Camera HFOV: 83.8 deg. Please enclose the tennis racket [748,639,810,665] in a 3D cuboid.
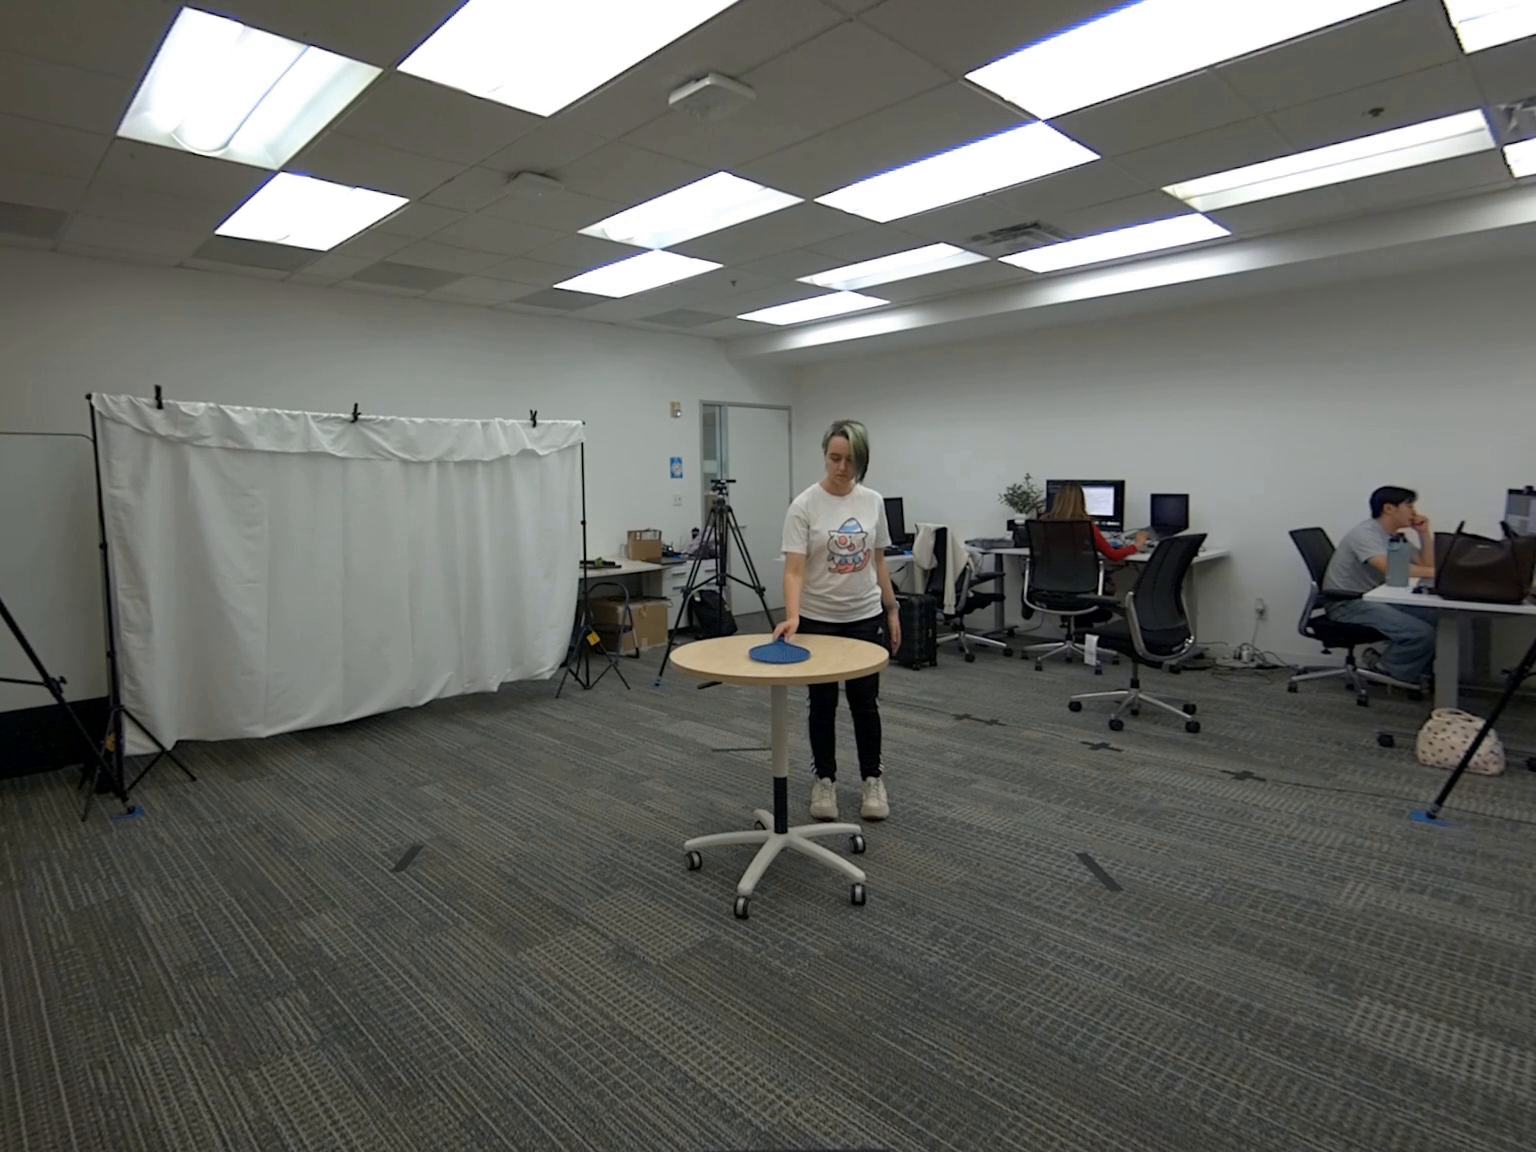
[{"bbox_3d":[0.039,0.257,3.018,0.215,0.031,0.432,0,7,5],"label":"tennis racket"}]
